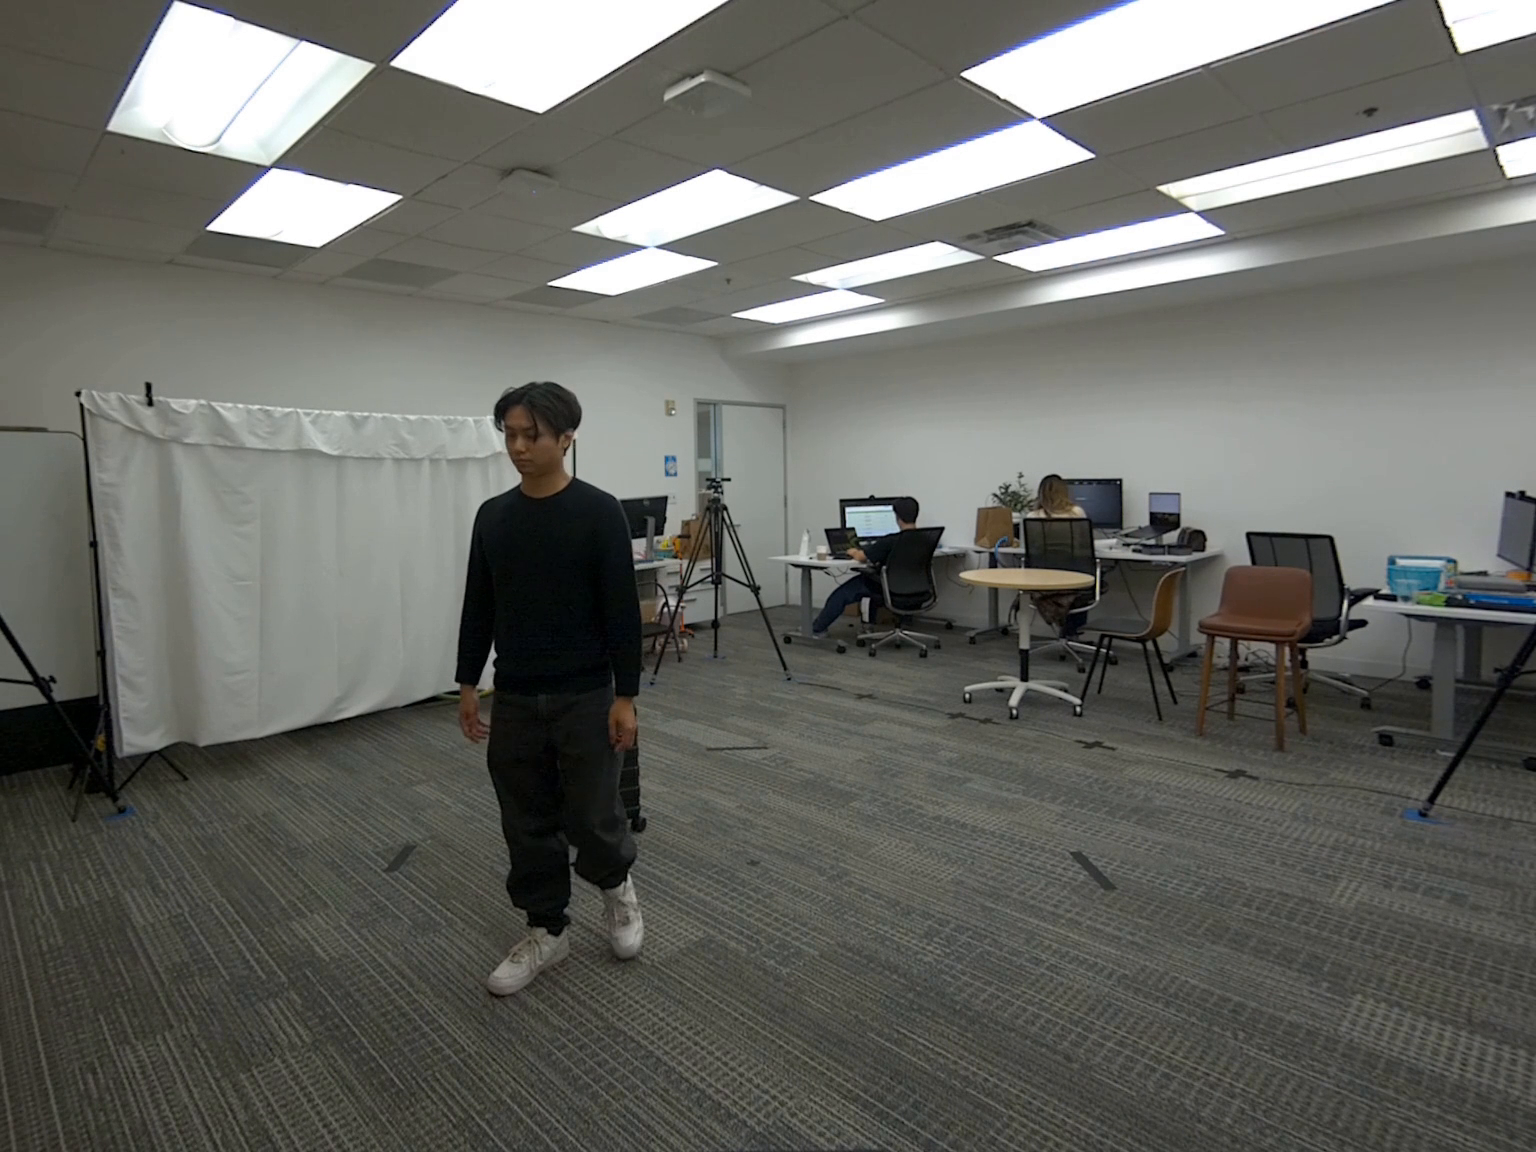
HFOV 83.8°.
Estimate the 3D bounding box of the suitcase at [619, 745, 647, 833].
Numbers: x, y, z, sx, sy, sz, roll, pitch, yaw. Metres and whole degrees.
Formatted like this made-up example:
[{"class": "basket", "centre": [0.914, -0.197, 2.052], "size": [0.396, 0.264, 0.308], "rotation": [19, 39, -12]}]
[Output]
[{"class": "suitcase", "centre": [-0.700, 0.743, 3.424], "size": [0.368, 0.547, 0.254], "rotation": [-4, 6, -23]}]
